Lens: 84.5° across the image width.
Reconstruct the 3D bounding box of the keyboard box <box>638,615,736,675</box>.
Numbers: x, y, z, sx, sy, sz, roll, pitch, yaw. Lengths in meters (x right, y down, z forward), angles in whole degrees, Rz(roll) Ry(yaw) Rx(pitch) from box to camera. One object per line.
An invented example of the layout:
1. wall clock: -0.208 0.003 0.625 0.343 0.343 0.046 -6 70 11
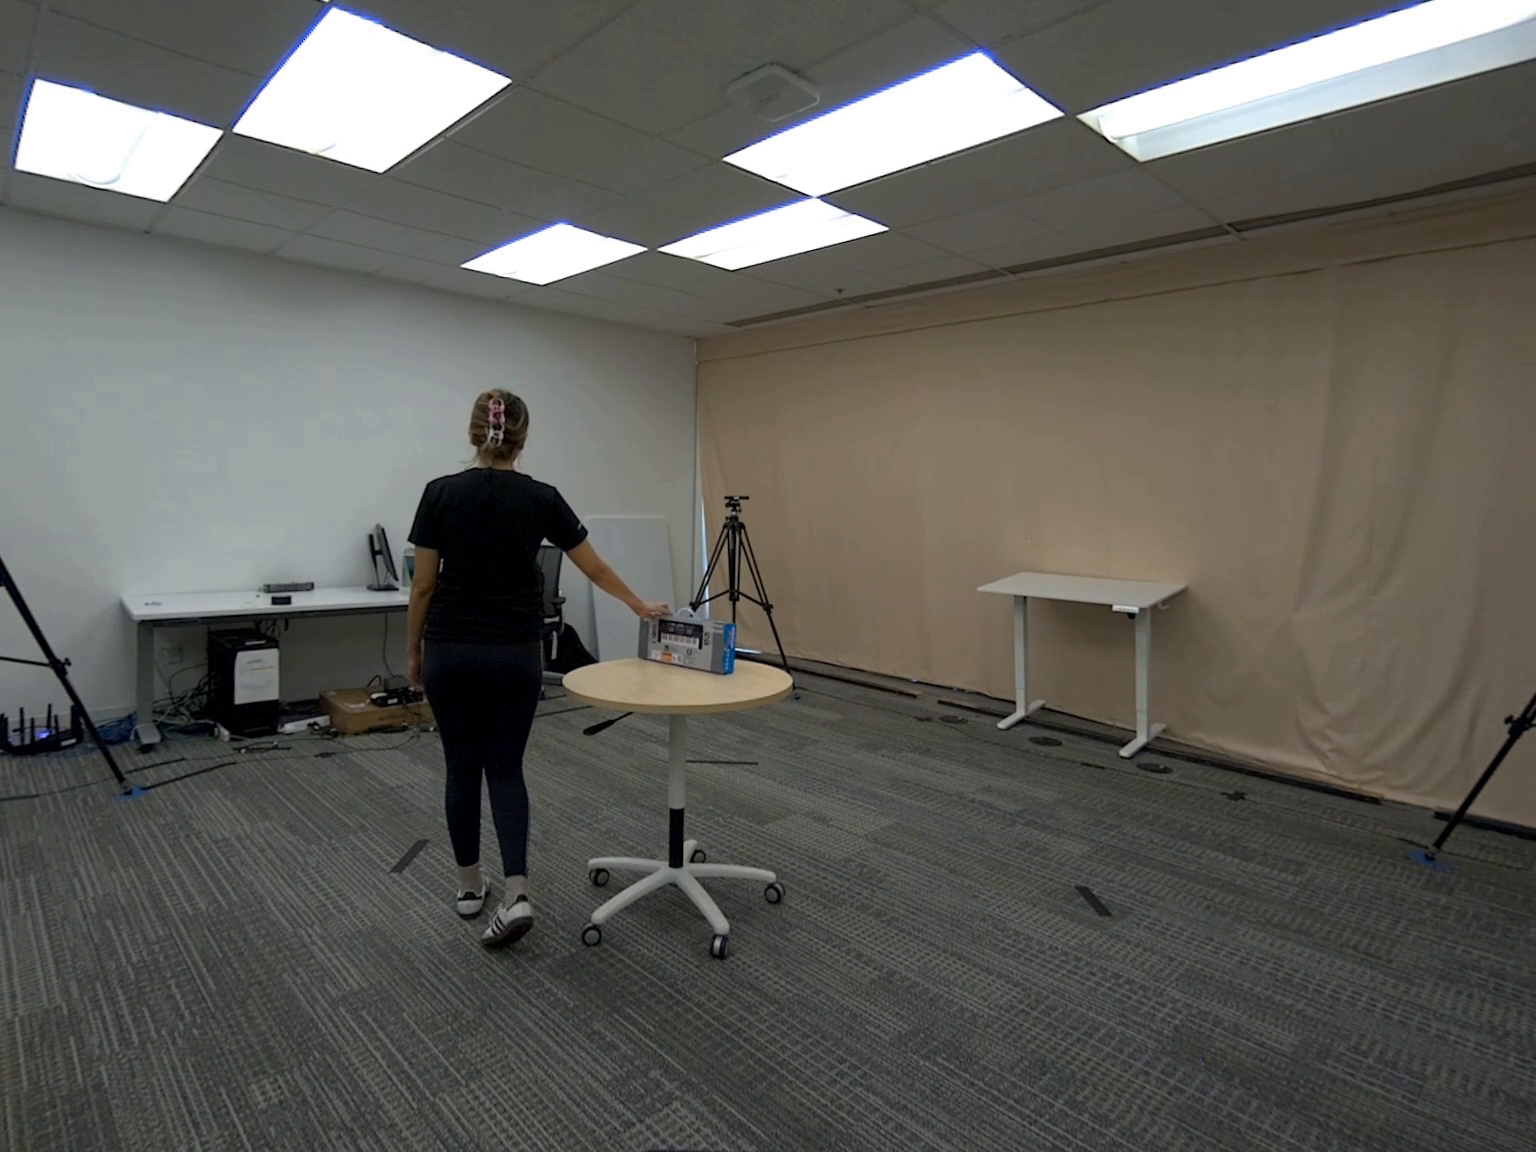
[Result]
1. keyboard box: -0.306 0.237 3.025 0.448 0.176 0.057 5 0 41
